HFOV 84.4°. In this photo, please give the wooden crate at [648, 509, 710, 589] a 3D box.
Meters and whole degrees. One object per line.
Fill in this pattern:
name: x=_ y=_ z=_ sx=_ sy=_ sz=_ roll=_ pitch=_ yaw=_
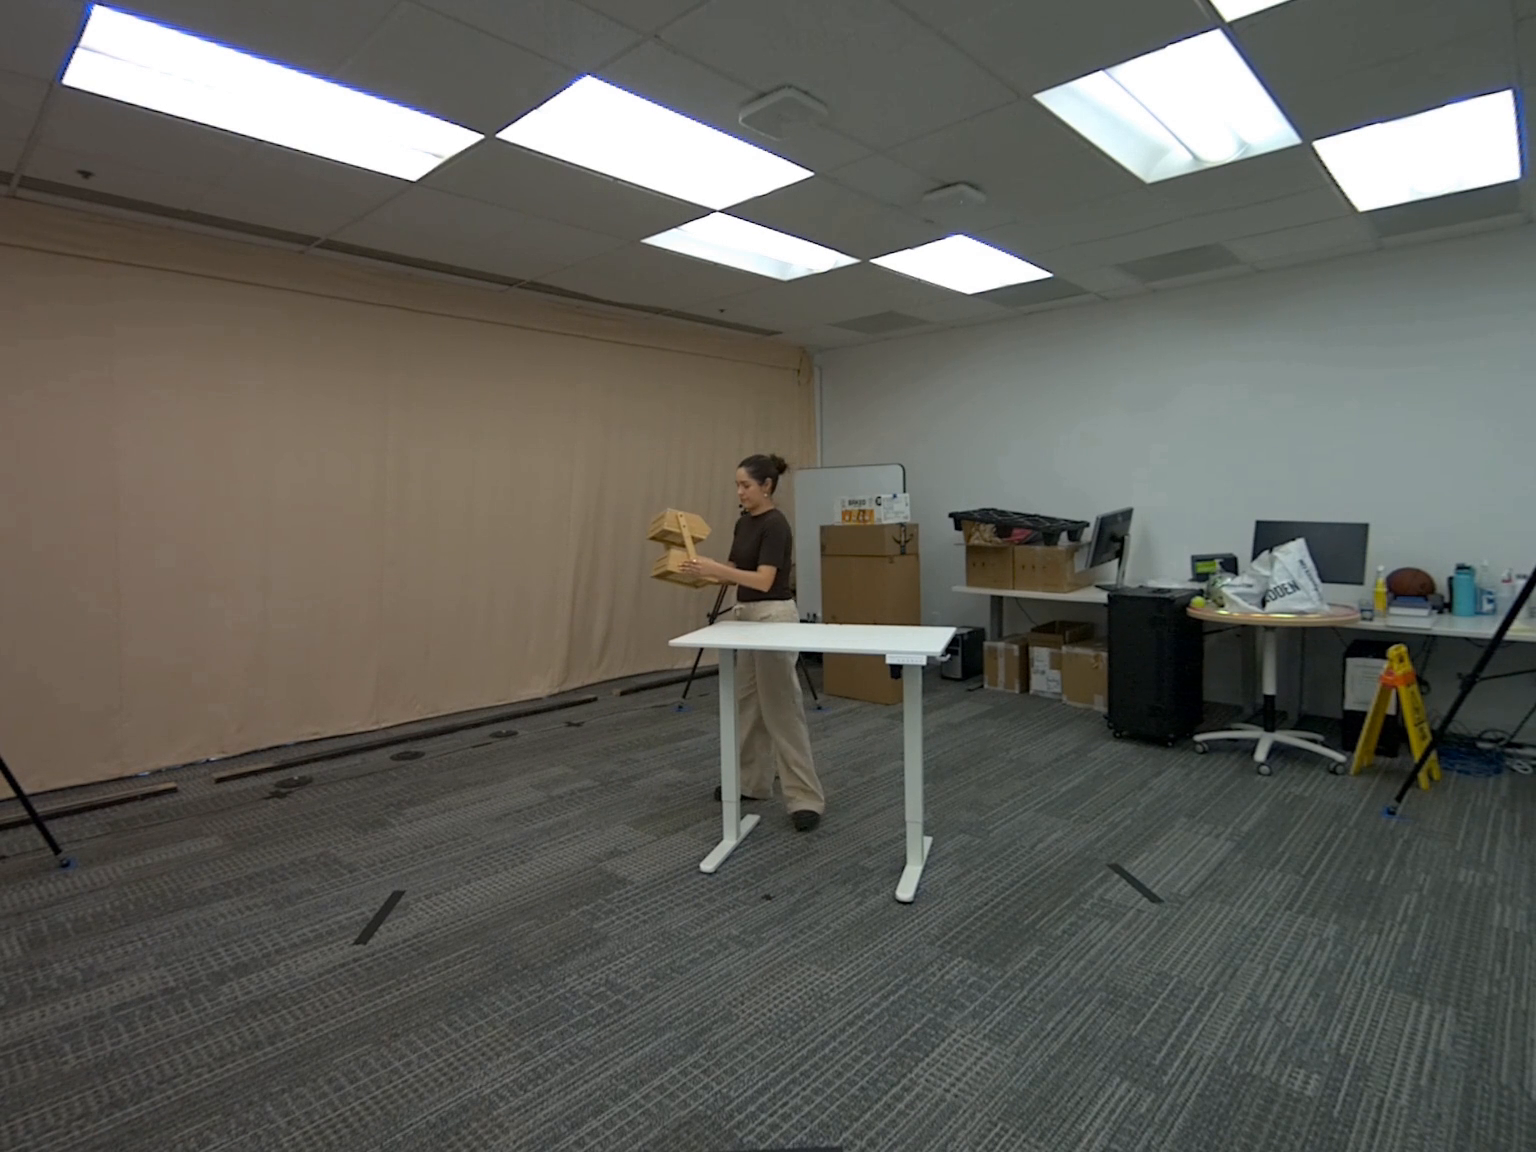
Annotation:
wooden crate: x=-0.357 y=-0.117 z=3.726 sx=0.296 sy=0.275 sz=0.329 roll=13 pitch=-12 yaw=-18
